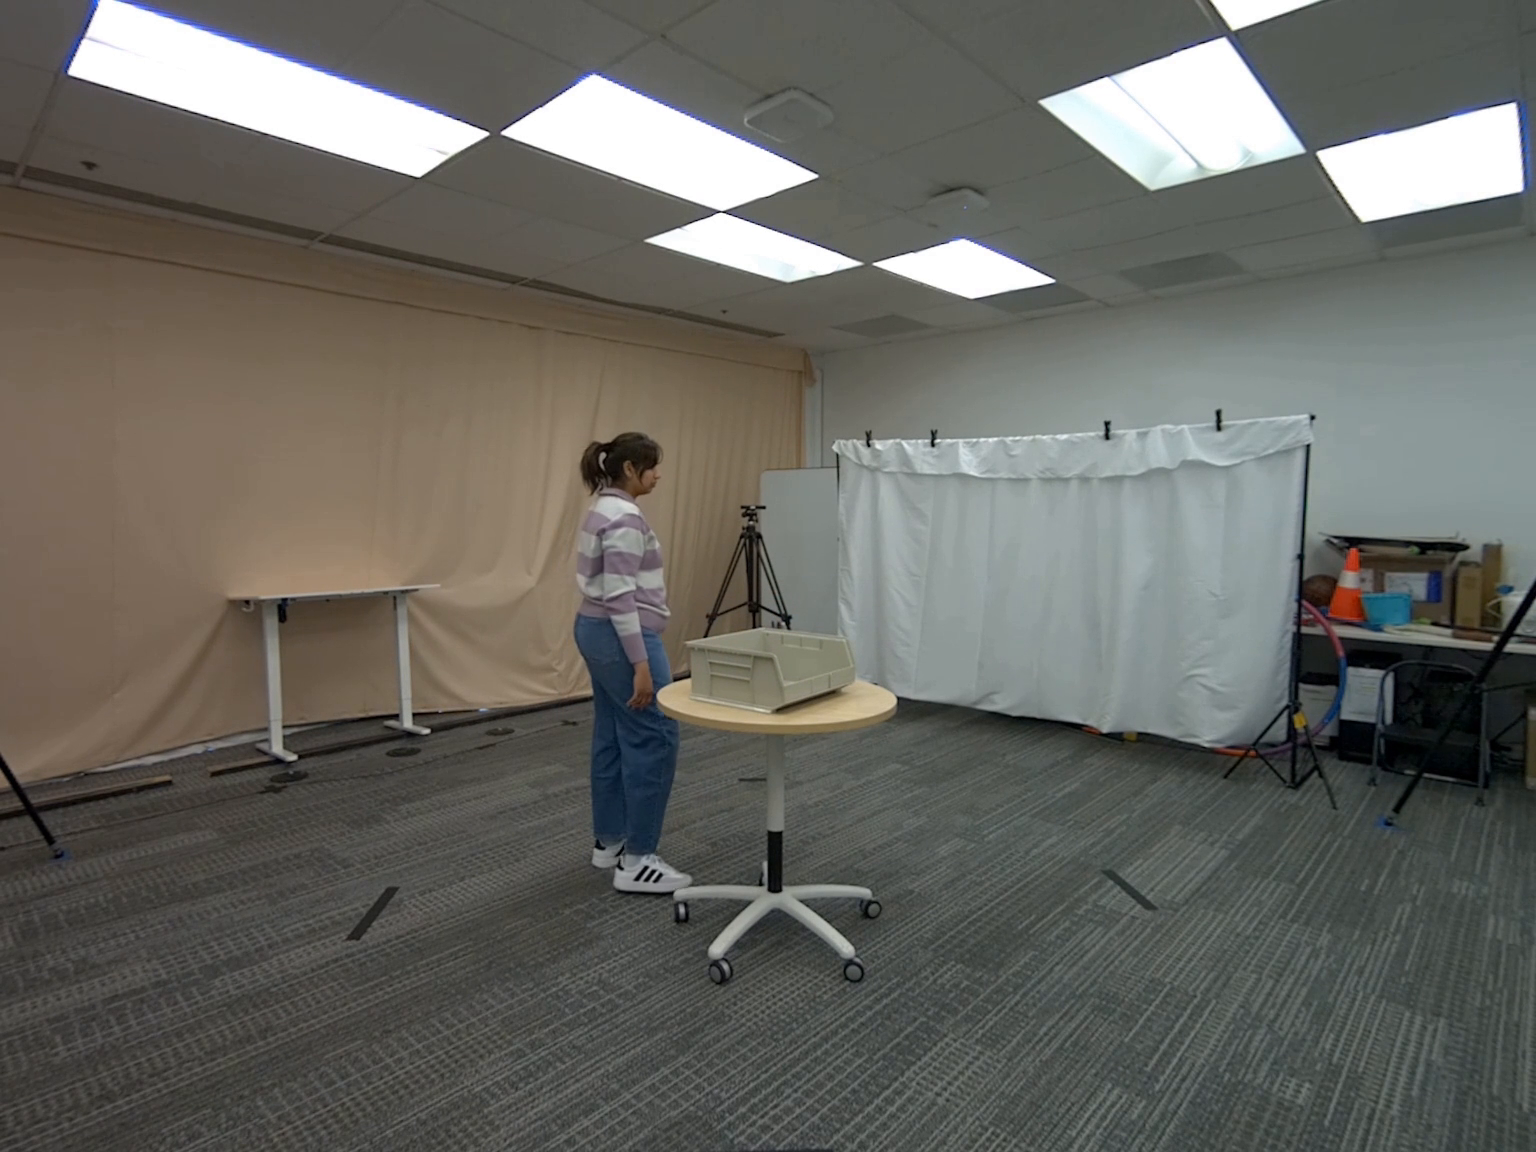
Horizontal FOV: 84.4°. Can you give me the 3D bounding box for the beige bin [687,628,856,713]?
[{"bbox_3d":[0.010,0.293,2.690,0.389,0.188,0.410,1,5,36],"label":"beige bin"}]
